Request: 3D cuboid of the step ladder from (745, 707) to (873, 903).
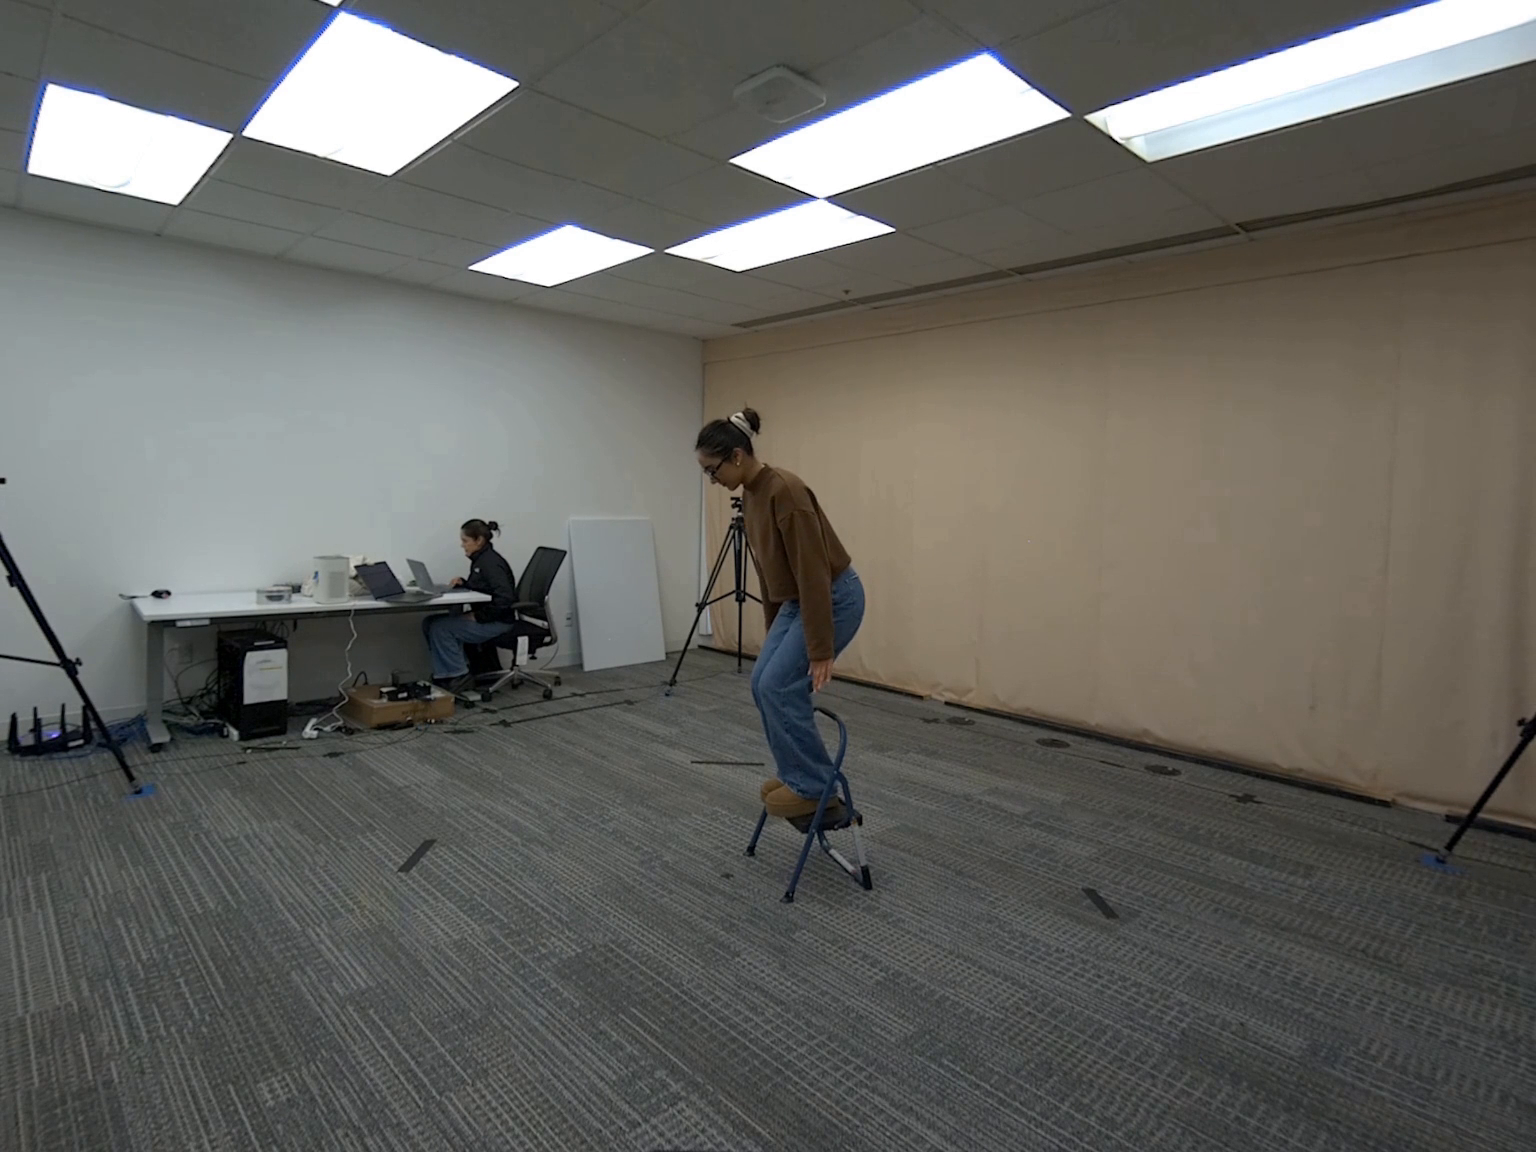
[{"bbox_3d":[0.145,0.811,3.139,0.344,0.605,0.438,0,3,-21],"label":"step ladder"}]
